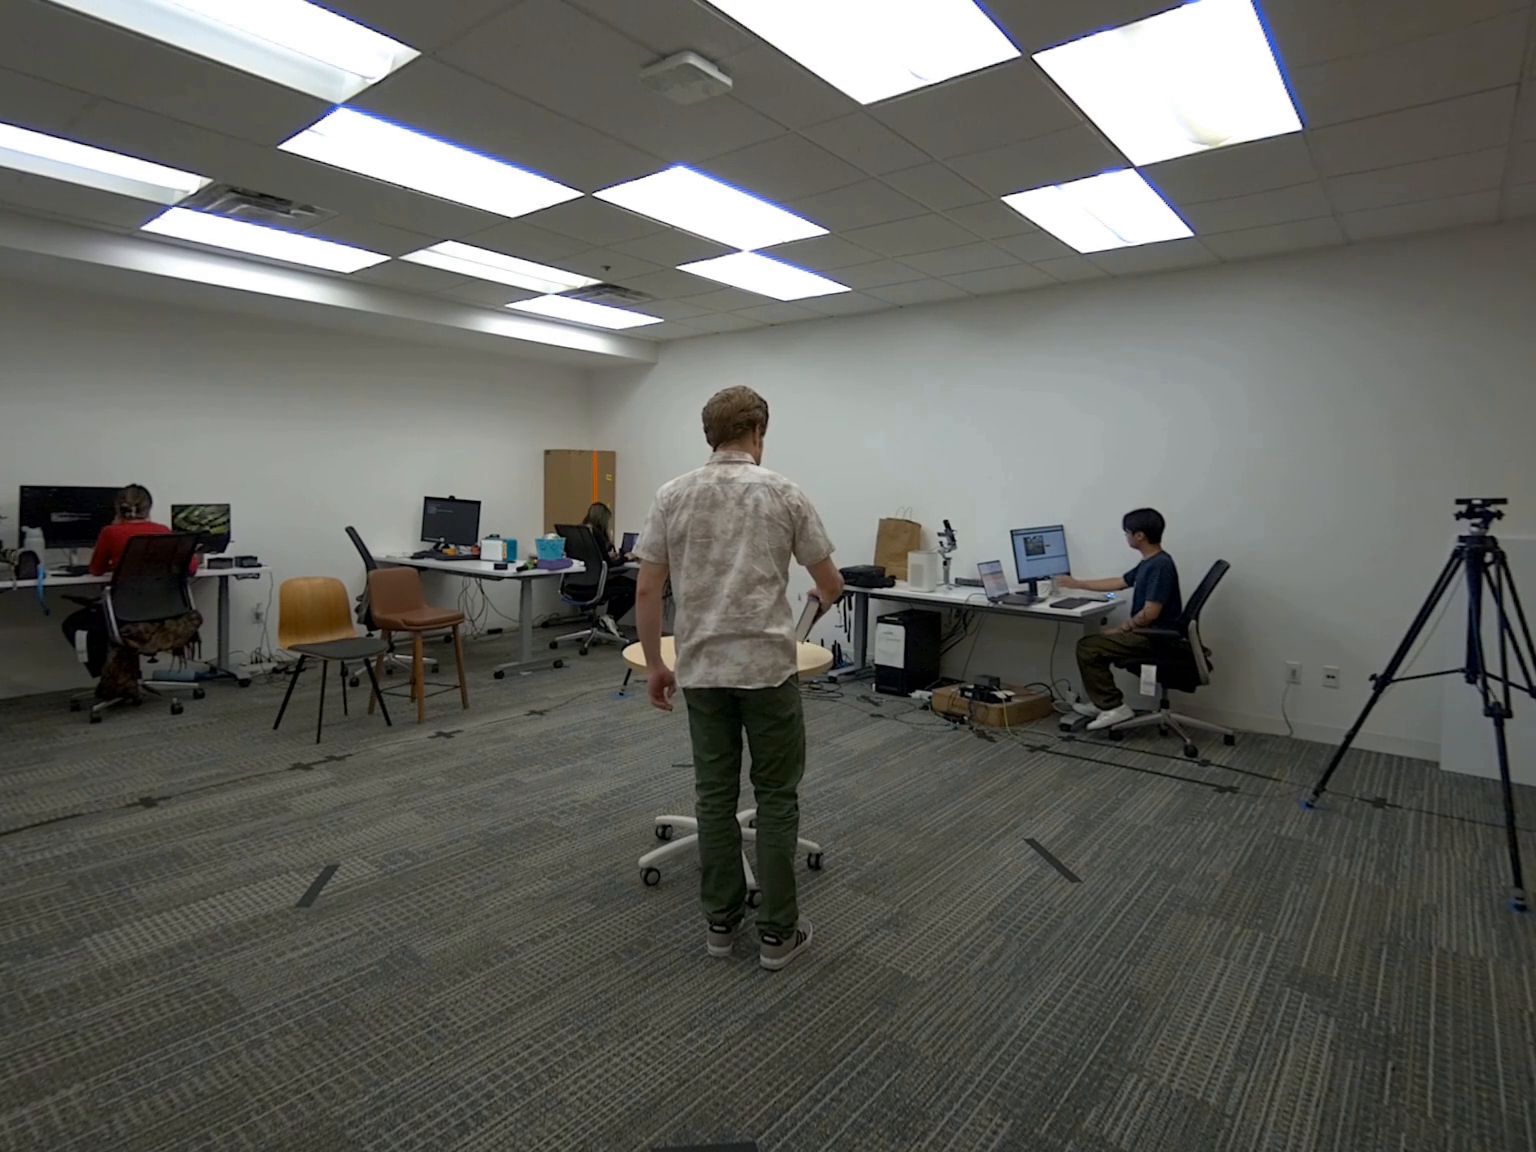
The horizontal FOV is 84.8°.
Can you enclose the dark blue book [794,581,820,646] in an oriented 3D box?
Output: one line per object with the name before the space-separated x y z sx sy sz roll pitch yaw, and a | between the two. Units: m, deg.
dark blue book | 0.146 0.126 3.000 0.046 0.162 0.244 17 15 7
